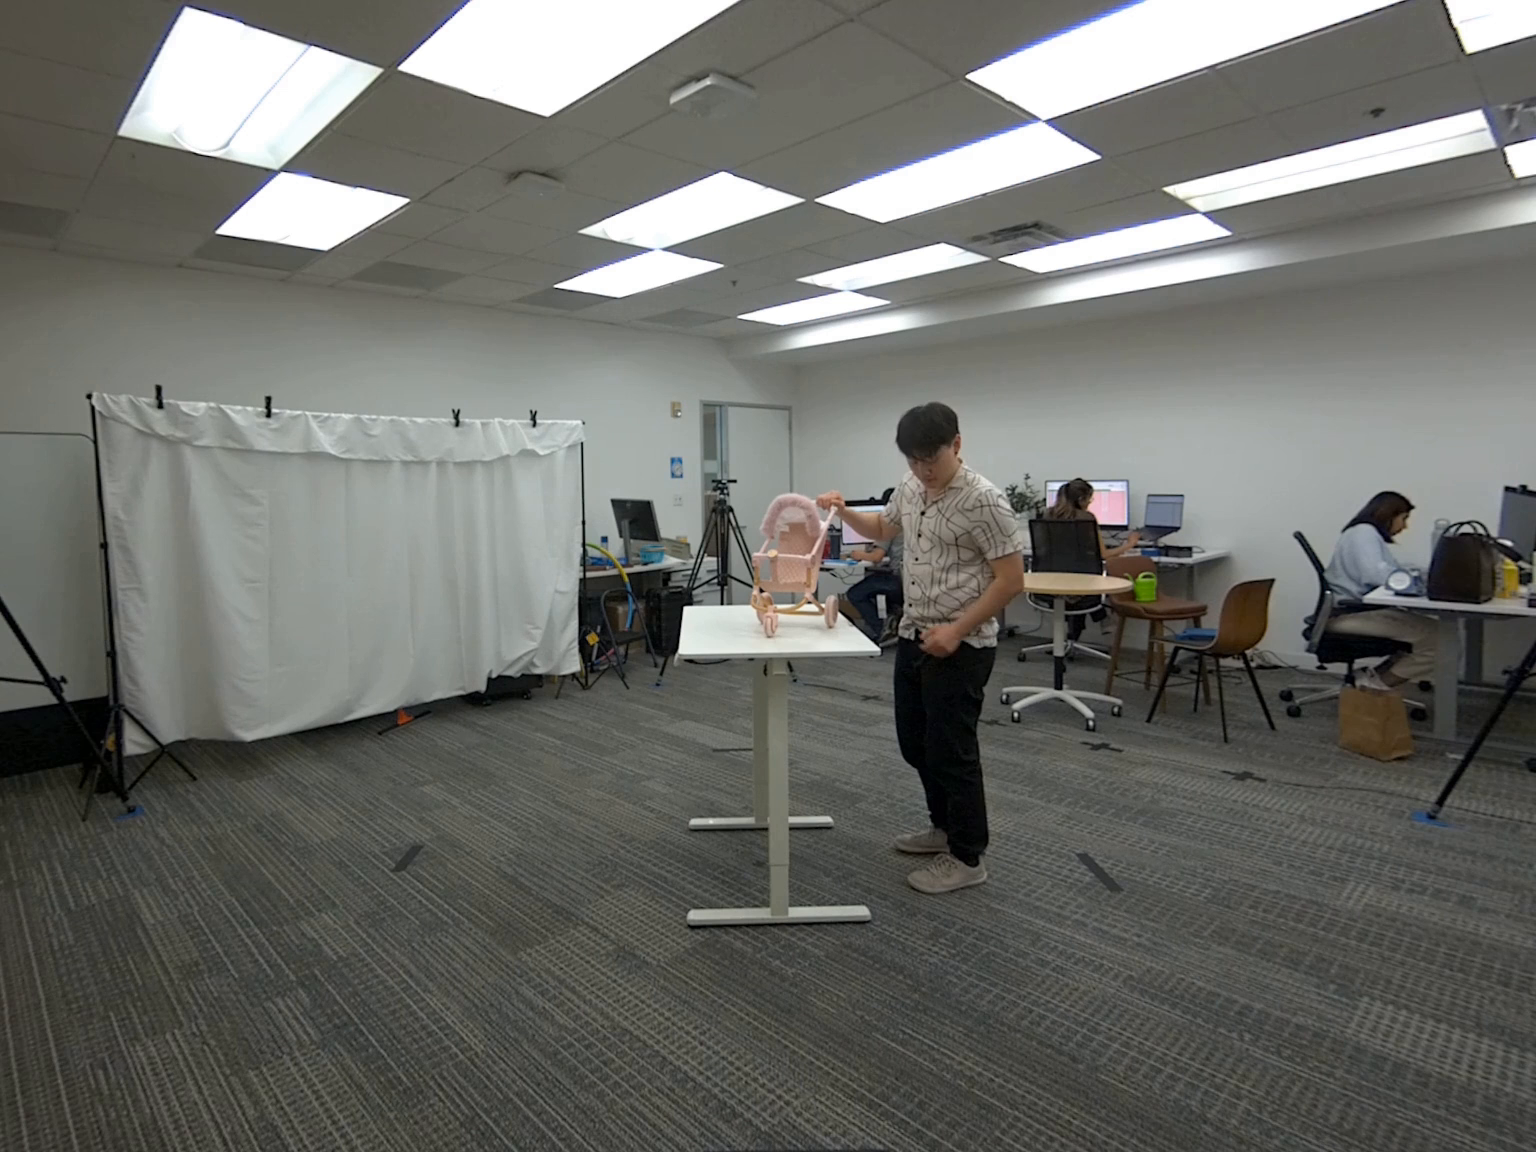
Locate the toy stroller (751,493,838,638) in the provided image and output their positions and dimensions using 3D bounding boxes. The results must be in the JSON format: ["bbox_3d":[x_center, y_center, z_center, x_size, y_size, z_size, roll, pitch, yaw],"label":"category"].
[{"bbox_3d":[0.084,-0.046,2.946,0.288,0.539,0.330,1,-11,28],"label":"toy stroller"}]
